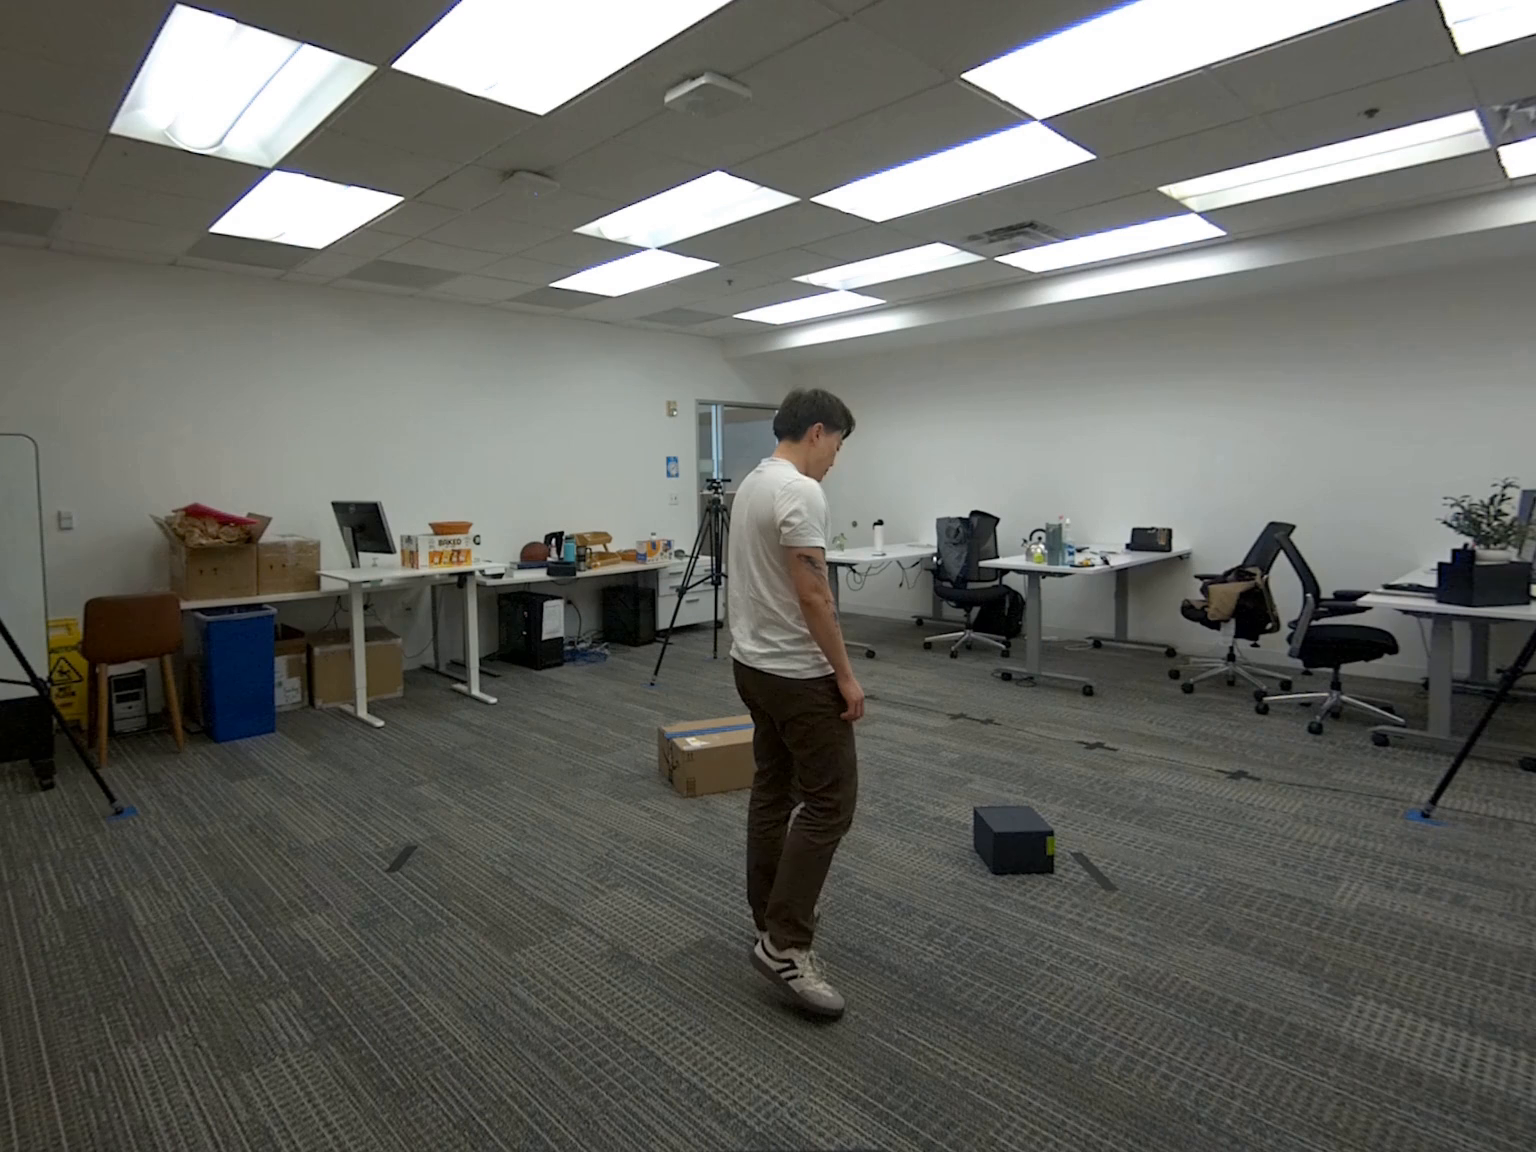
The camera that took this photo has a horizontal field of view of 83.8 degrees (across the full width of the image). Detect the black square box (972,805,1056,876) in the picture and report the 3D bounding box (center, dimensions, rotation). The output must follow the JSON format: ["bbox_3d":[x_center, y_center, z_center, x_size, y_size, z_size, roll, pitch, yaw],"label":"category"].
[{"bbox_3d":[0.888,0.944,3.086,0.216,0.155,0.229,-1,5,-3],"label":"black square box"}]
